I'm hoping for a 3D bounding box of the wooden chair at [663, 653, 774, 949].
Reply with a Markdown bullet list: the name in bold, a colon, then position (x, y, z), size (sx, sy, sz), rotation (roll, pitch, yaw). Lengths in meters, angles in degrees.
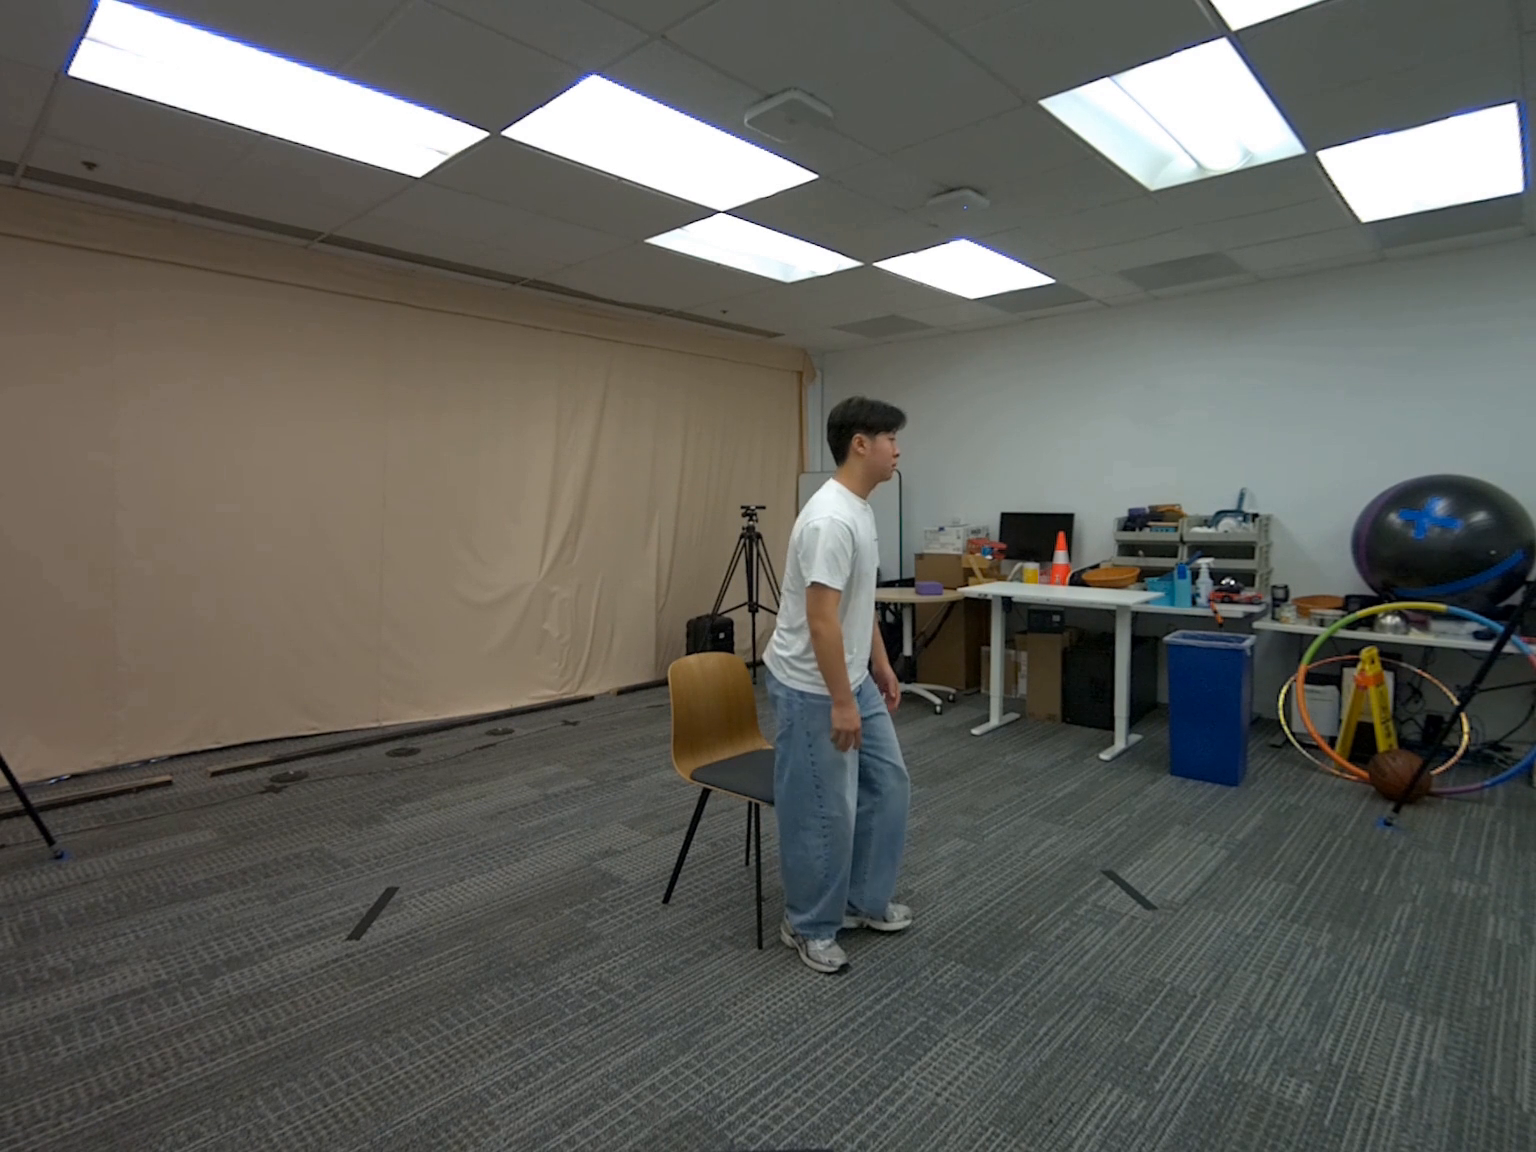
- **wooden chair**: position (-0.048, 0.722, 2.922), size (0.539, 0.877, 0.463), rotation (-3, 1, 42)
